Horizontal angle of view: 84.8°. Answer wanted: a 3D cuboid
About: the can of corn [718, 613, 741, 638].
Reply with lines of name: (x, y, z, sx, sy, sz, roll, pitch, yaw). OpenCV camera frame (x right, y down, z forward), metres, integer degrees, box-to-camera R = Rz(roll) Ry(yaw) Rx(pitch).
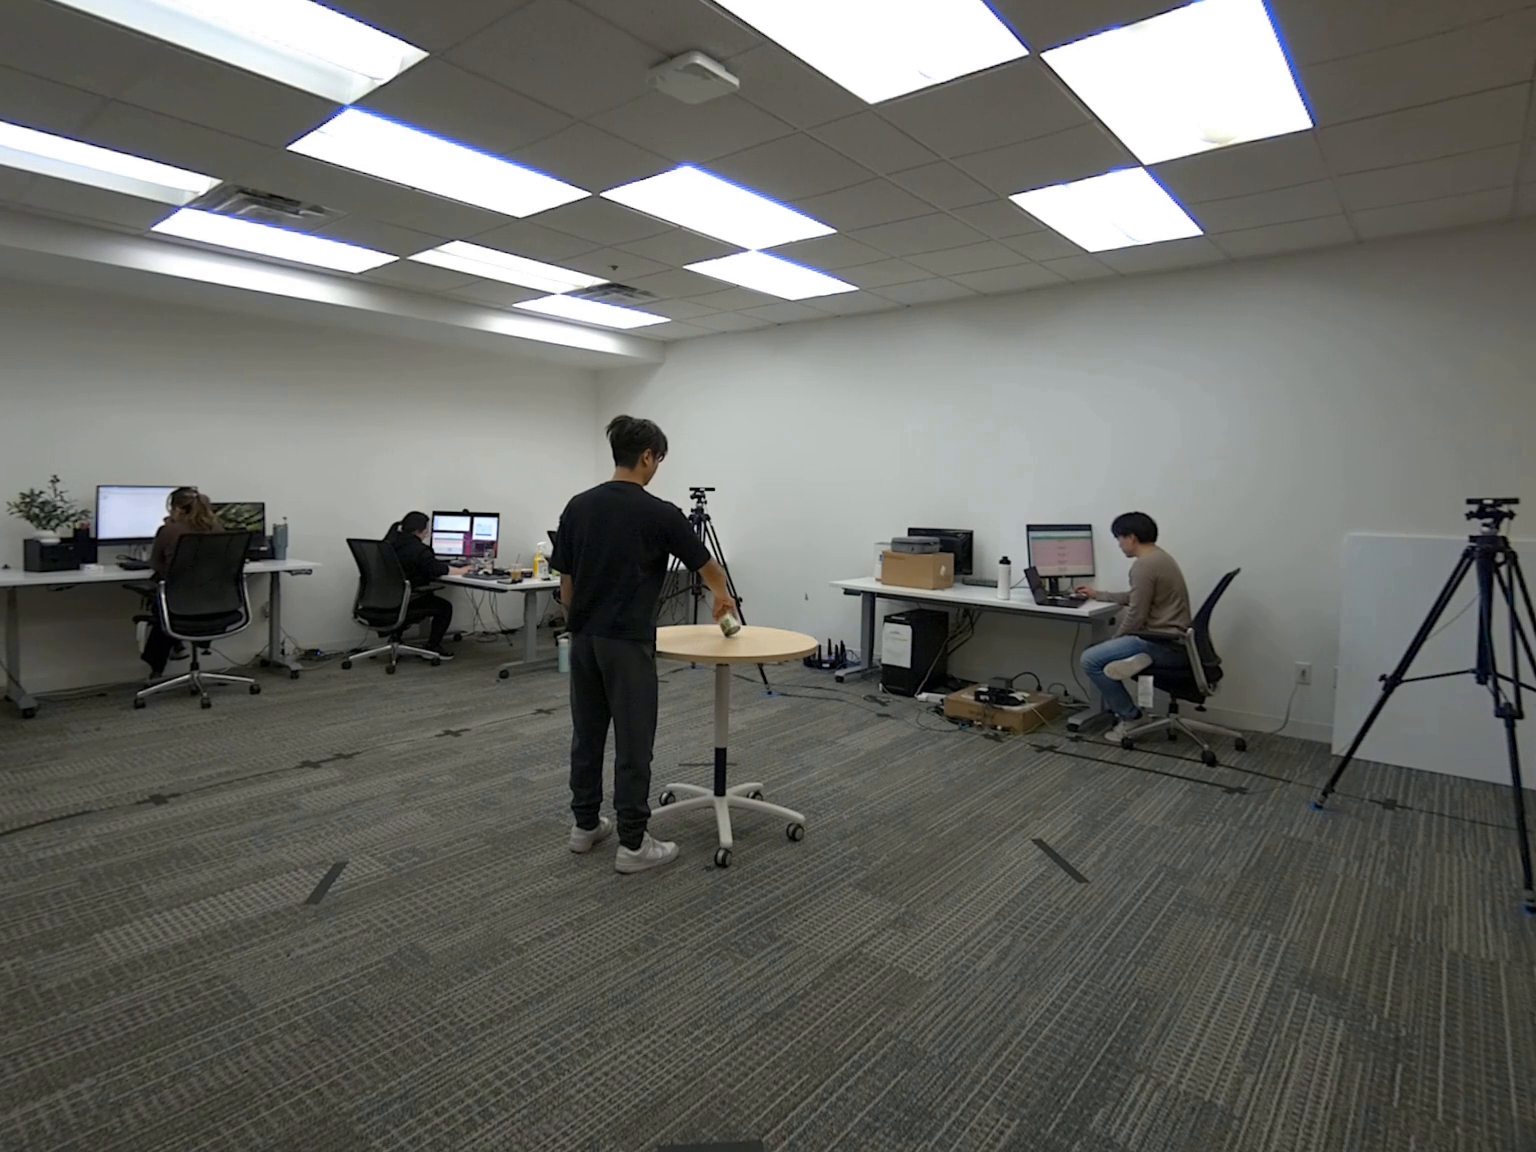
can of corn: (-0.177, 0.187, 3.502, 0.114, 0.074, 0.072, 50, 26, 20)
